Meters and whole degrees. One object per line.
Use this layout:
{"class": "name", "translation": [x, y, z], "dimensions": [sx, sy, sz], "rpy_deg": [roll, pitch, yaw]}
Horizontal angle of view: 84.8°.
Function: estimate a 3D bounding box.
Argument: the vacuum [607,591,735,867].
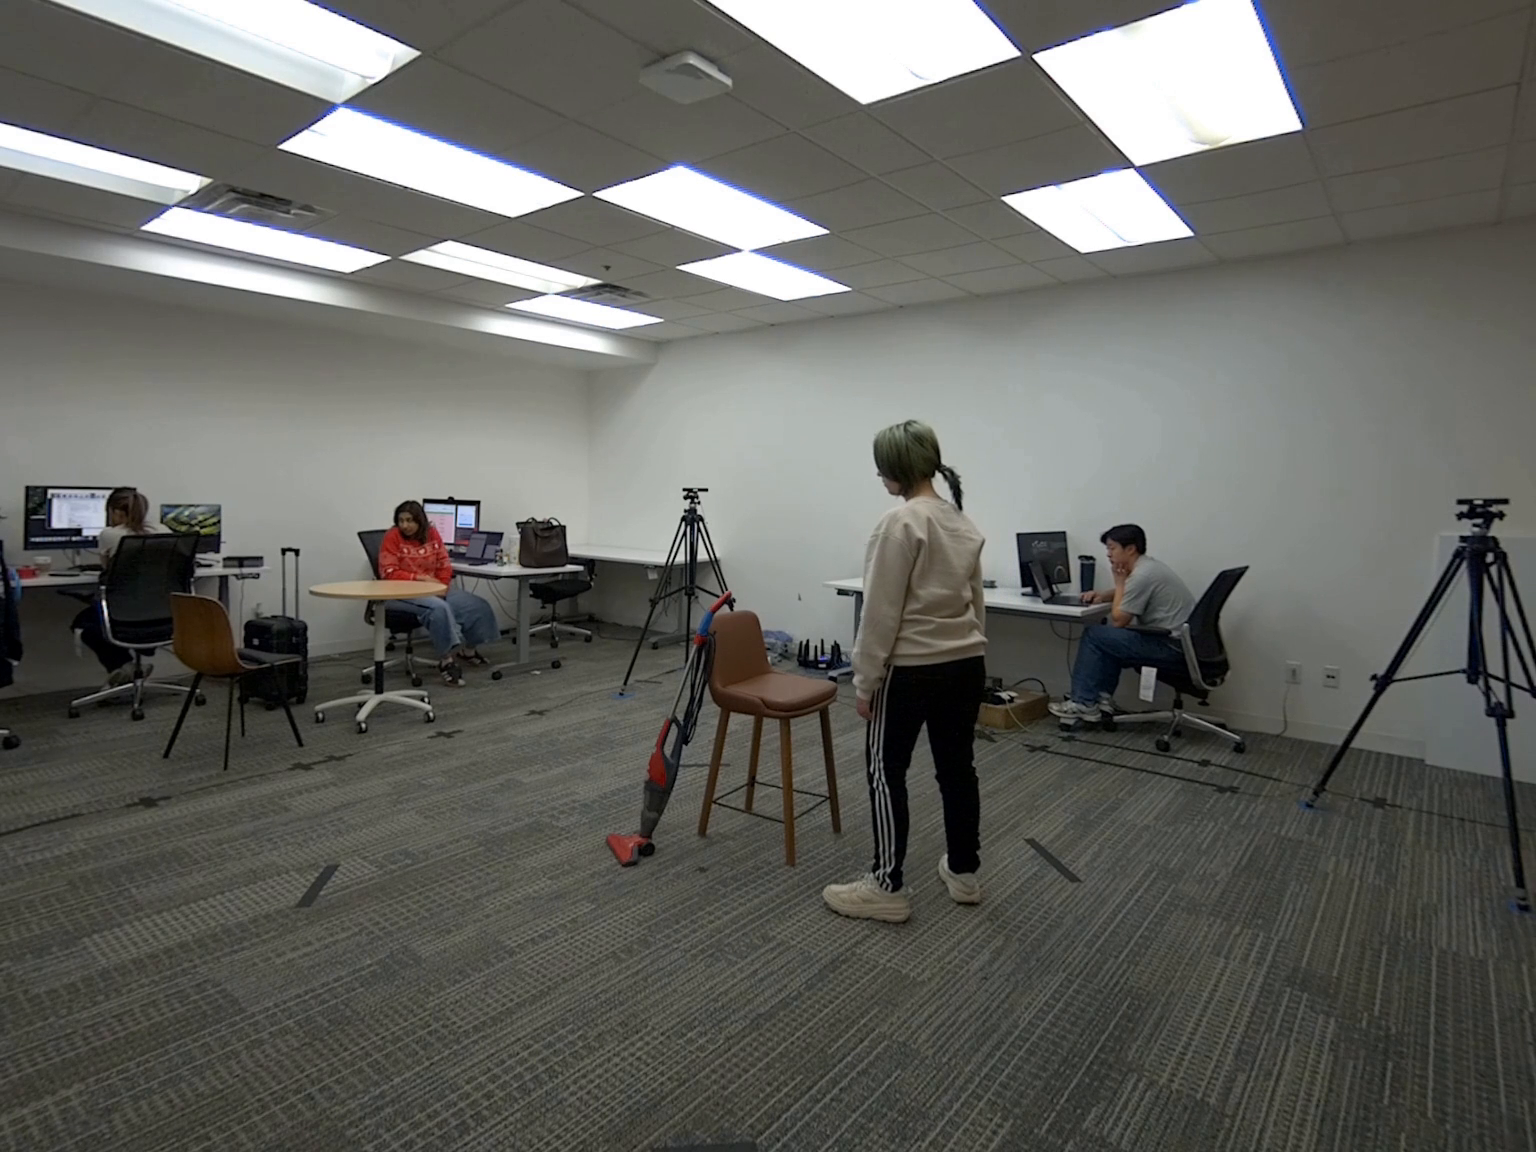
{"class": "vacuum", "translation": [-0.360, 0.557, 3.295], "dimensions": [0.140, 1.052, 0.259], "rpy_deg": [22, -6, -25]}
